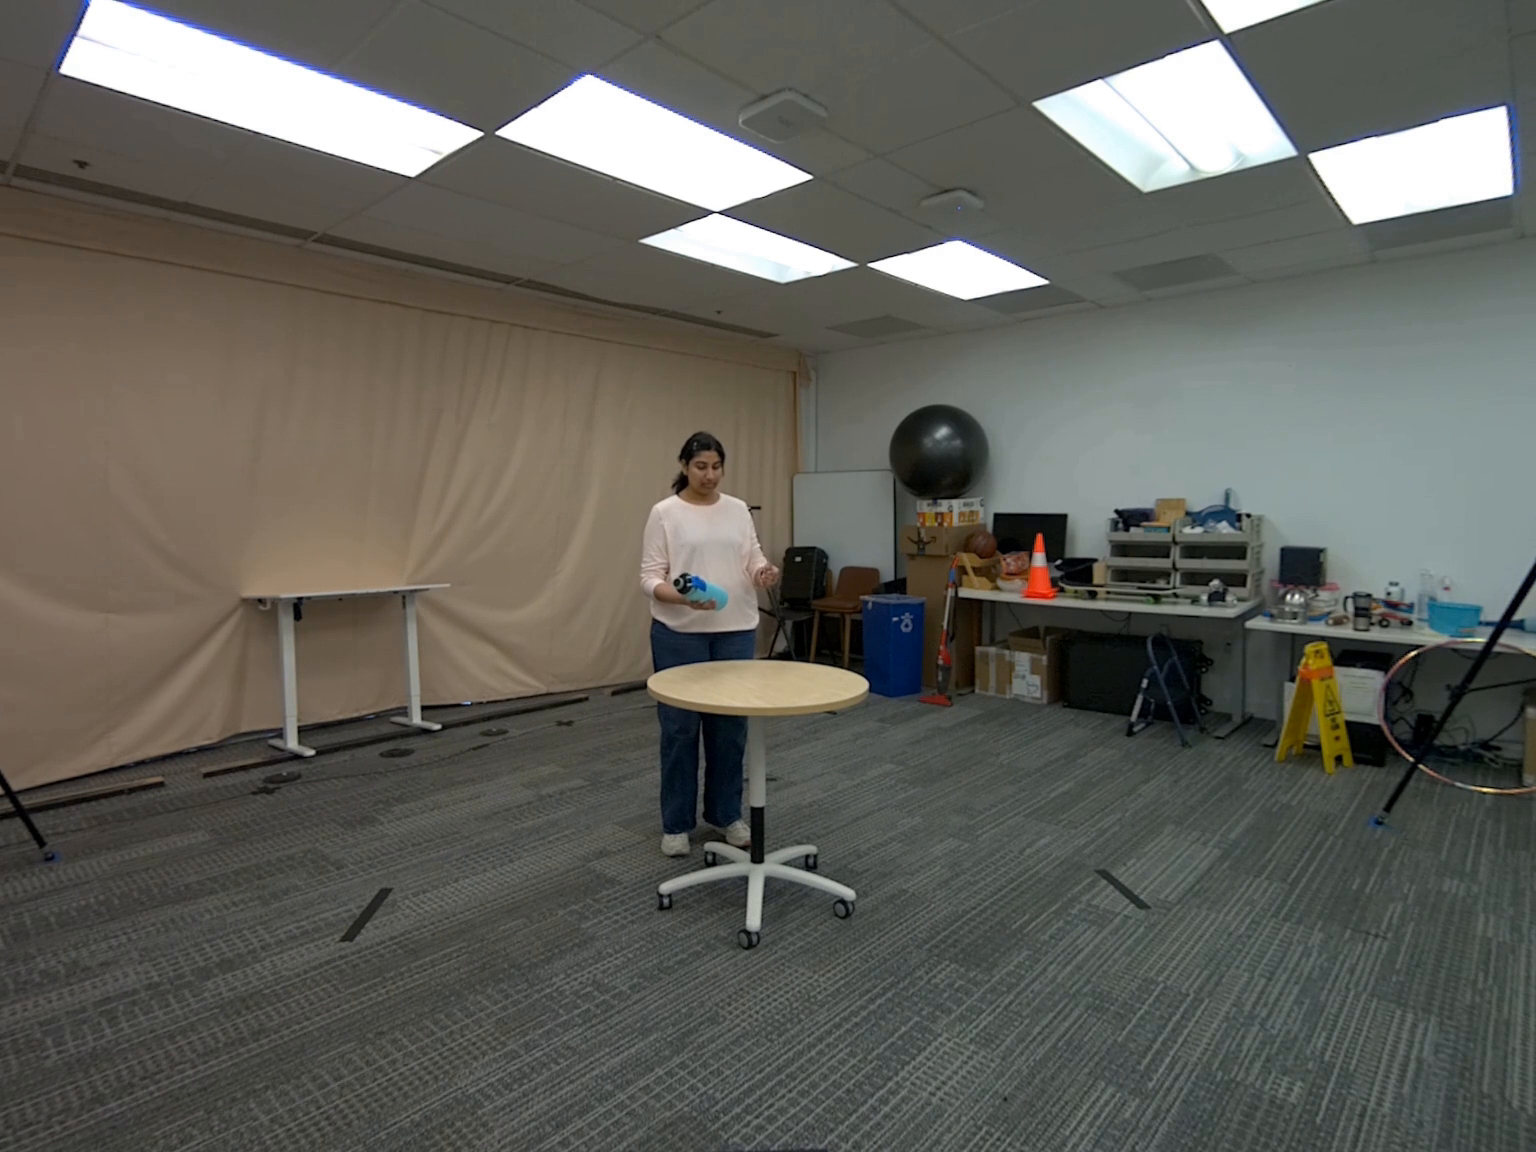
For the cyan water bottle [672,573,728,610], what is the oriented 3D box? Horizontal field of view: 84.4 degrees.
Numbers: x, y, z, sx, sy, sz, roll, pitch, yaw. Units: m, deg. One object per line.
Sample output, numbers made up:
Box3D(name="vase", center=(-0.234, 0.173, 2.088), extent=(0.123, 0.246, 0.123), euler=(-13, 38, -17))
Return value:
Box3D(name="cyan water bottle", center=(-0.252, 0.049, 3.088), extent=(0.095, 0.093, 0.274), euler=(2, -15, 26))
